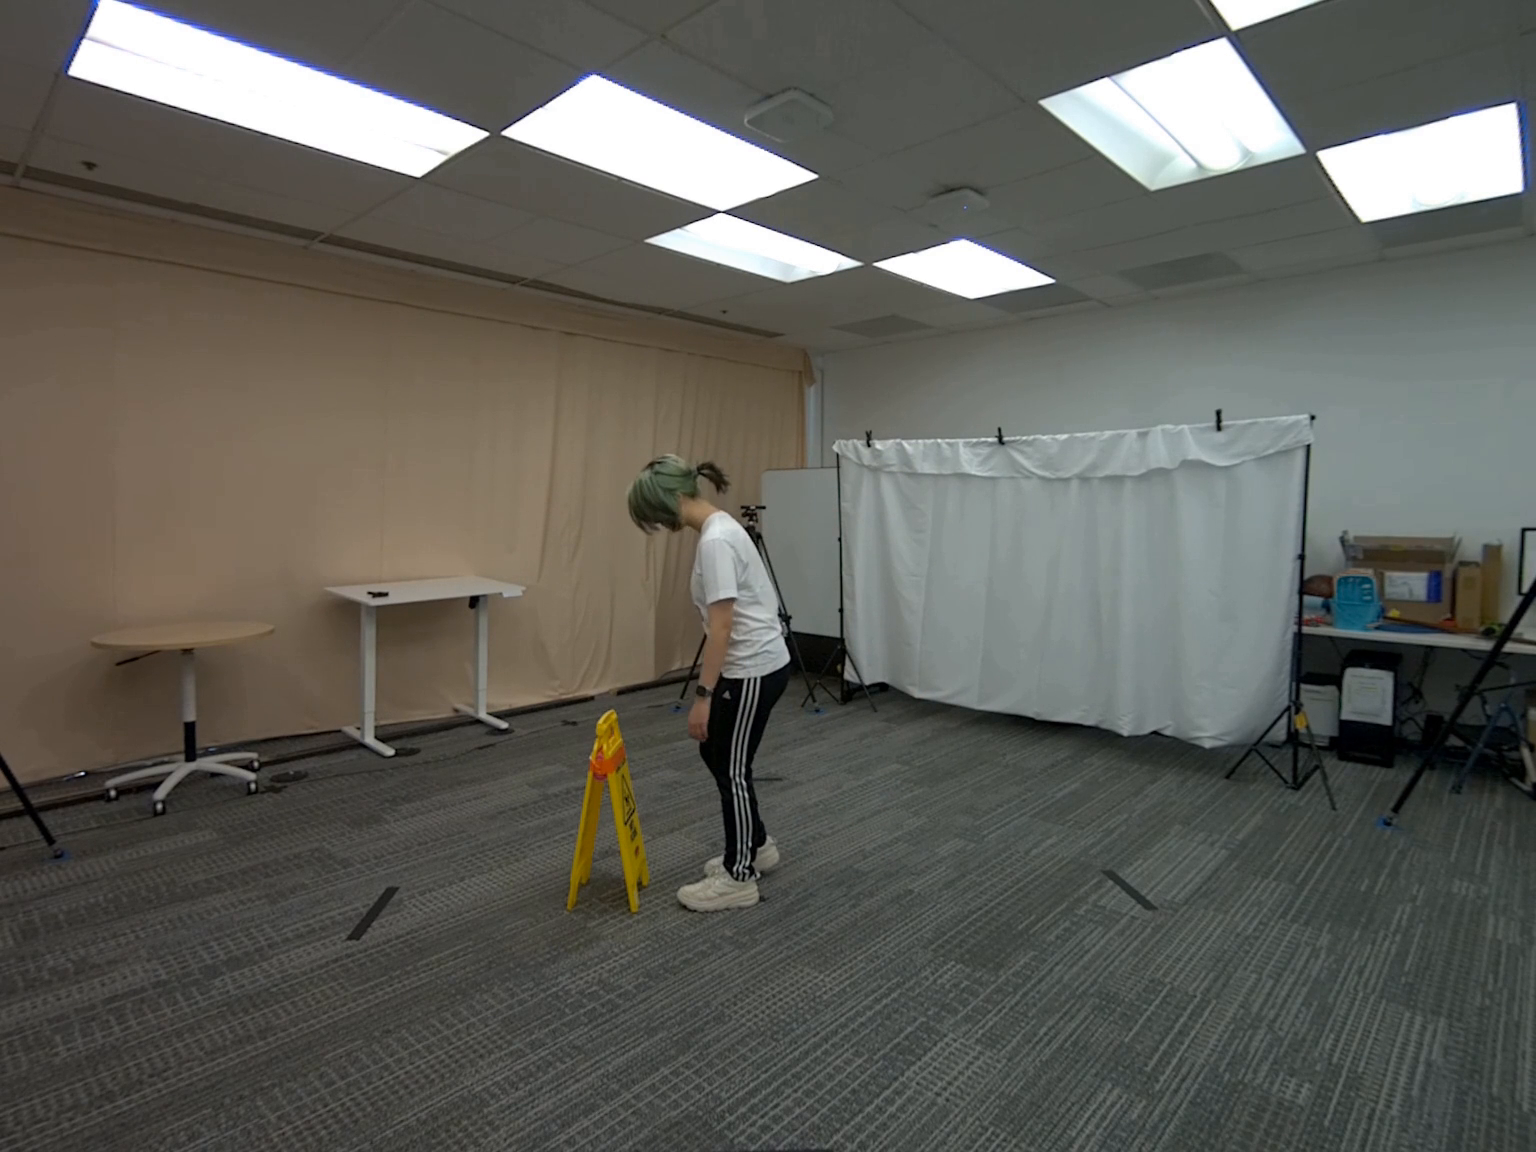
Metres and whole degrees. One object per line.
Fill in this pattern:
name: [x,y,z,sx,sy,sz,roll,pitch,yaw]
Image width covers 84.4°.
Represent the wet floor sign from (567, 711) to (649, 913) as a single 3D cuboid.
wet floor sign: [-0.574,0.823,3.019,0.291,0.645,0.281,-1,2,4]
